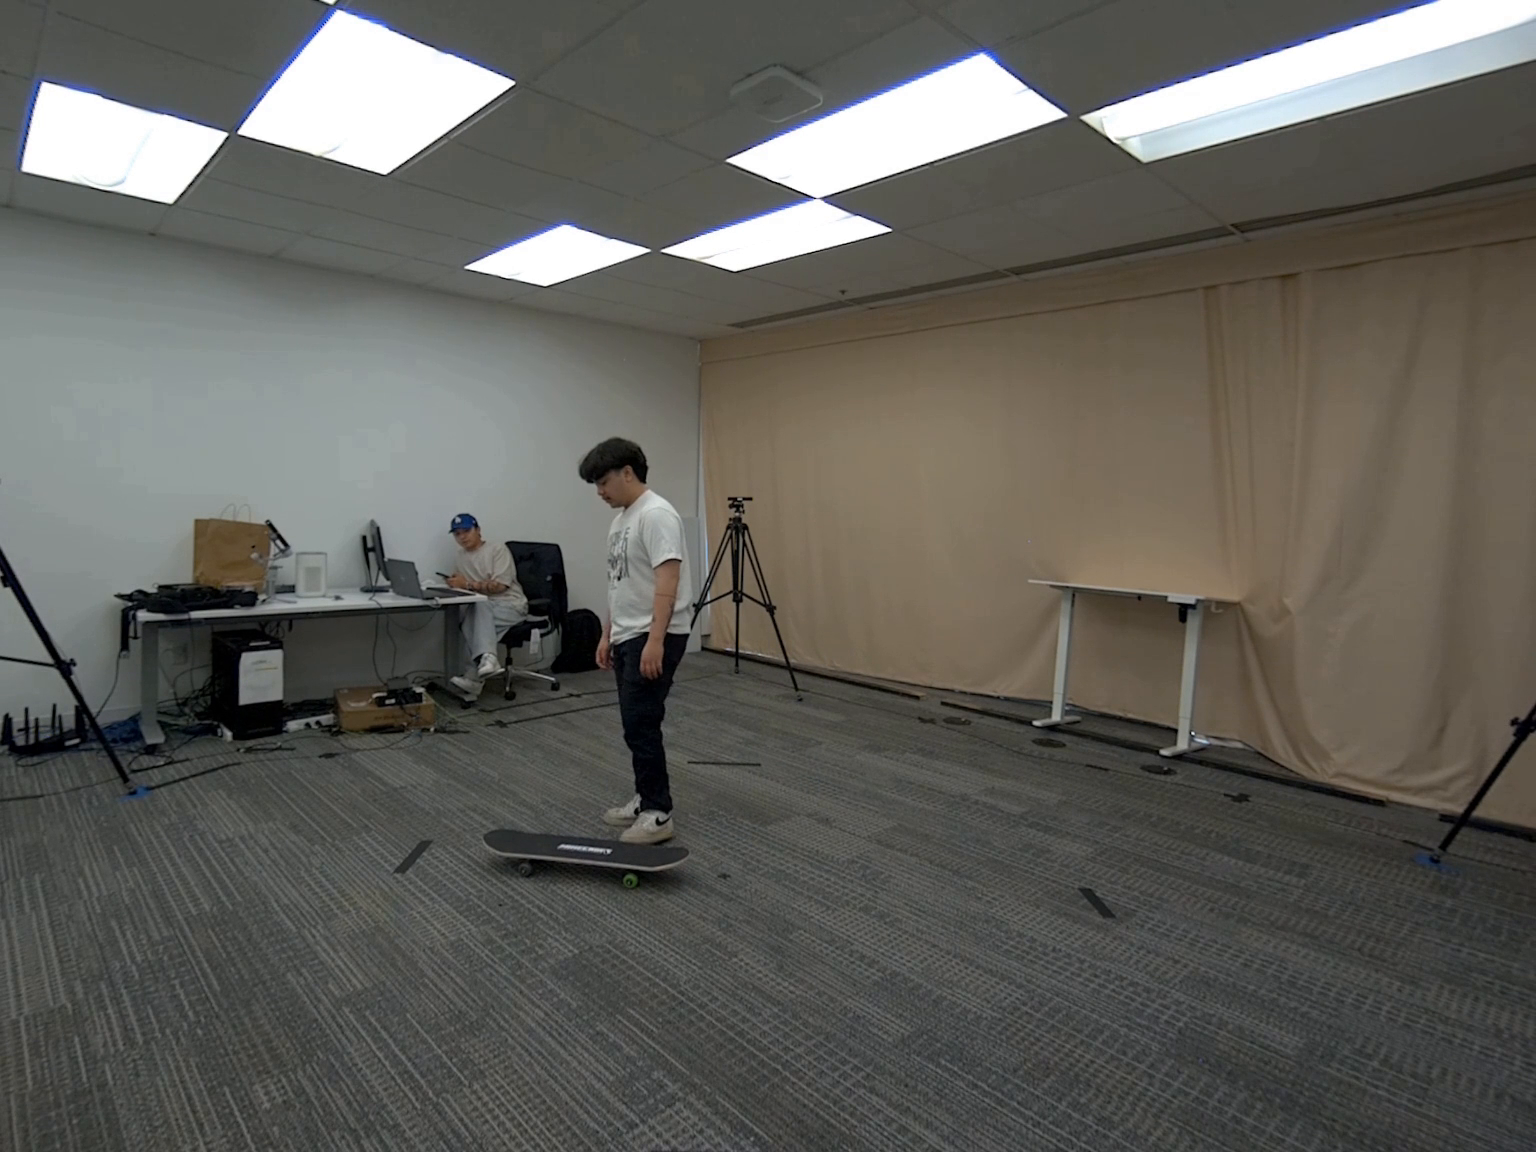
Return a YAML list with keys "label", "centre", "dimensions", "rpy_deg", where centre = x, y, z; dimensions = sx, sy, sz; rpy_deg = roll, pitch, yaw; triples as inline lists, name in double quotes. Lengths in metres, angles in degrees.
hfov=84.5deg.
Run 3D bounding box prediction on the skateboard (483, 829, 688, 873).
- label: "skateboard"
  centre: [-0.673, 1.036, 3.100]
  dimensions: [0.792, 0.110, 0.192]
  rpy_deg: [2, 6, 11]
